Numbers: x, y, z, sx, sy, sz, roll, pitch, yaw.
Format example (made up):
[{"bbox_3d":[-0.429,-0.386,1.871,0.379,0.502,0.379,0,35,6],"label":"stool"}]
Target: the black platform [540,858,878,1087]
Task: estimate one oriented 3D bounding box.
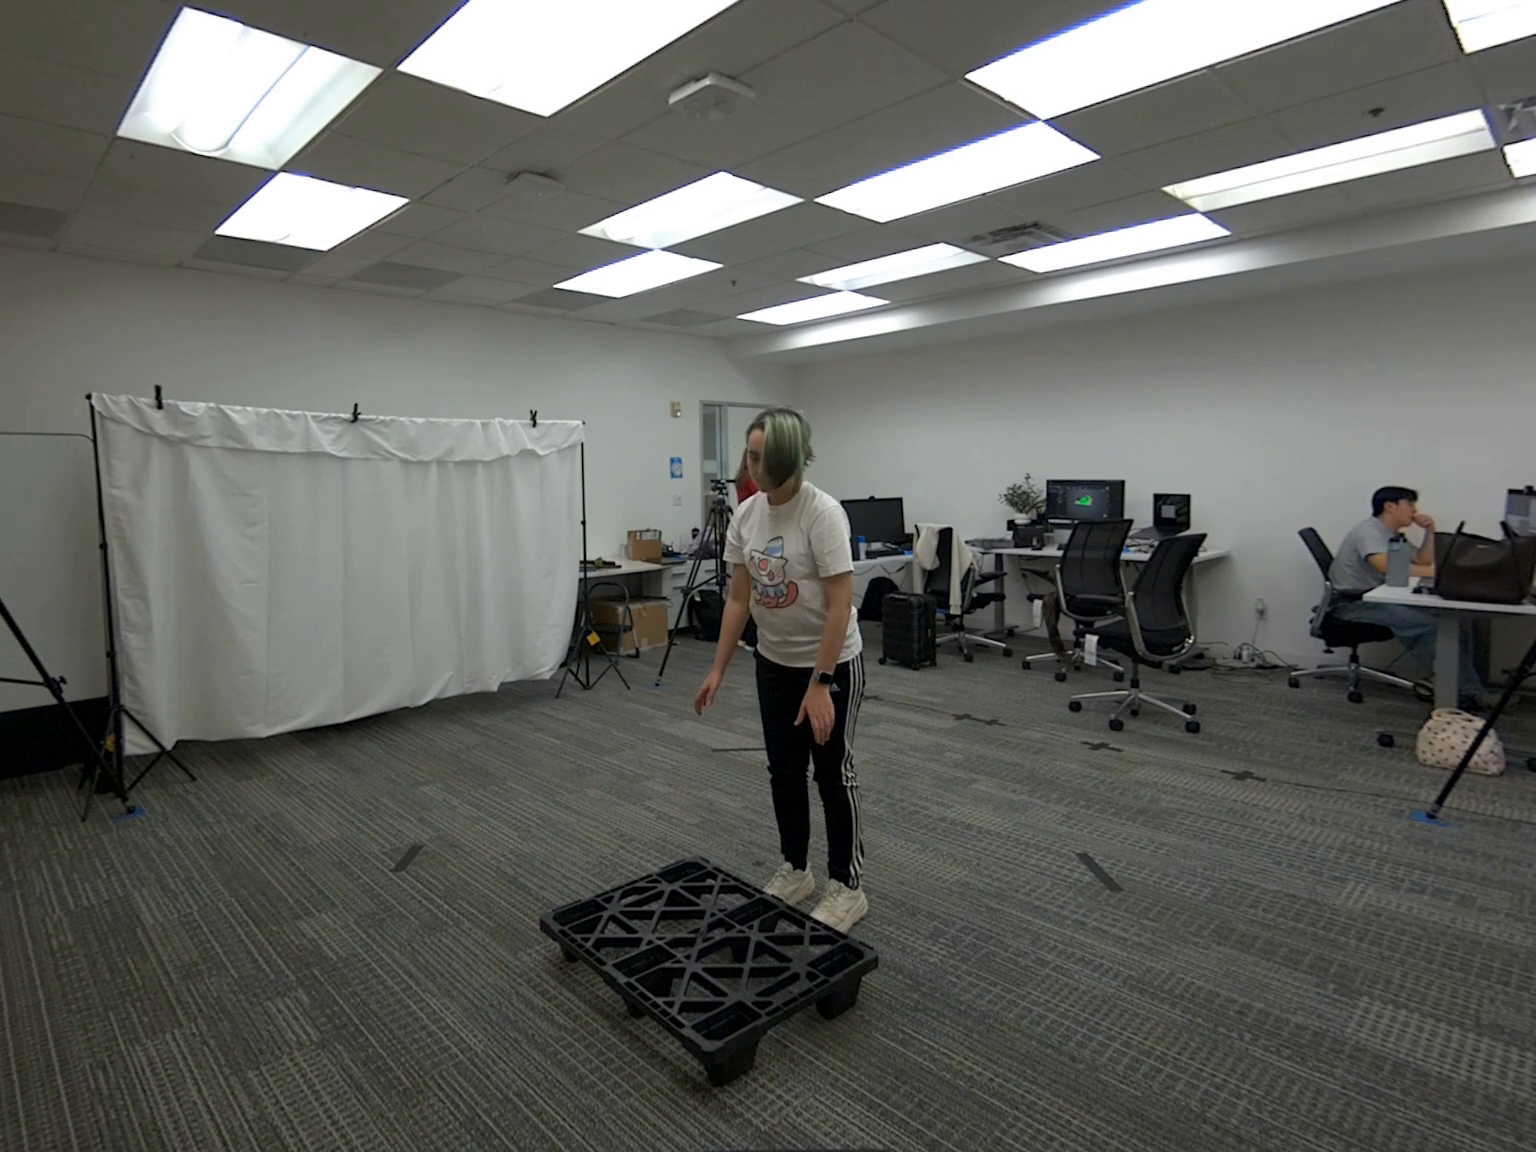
[{"bbox_3d":[-0.185,1.069,2.402,0.589,0.142,0.831,-7,9,-41],"label":"black platform"}]
